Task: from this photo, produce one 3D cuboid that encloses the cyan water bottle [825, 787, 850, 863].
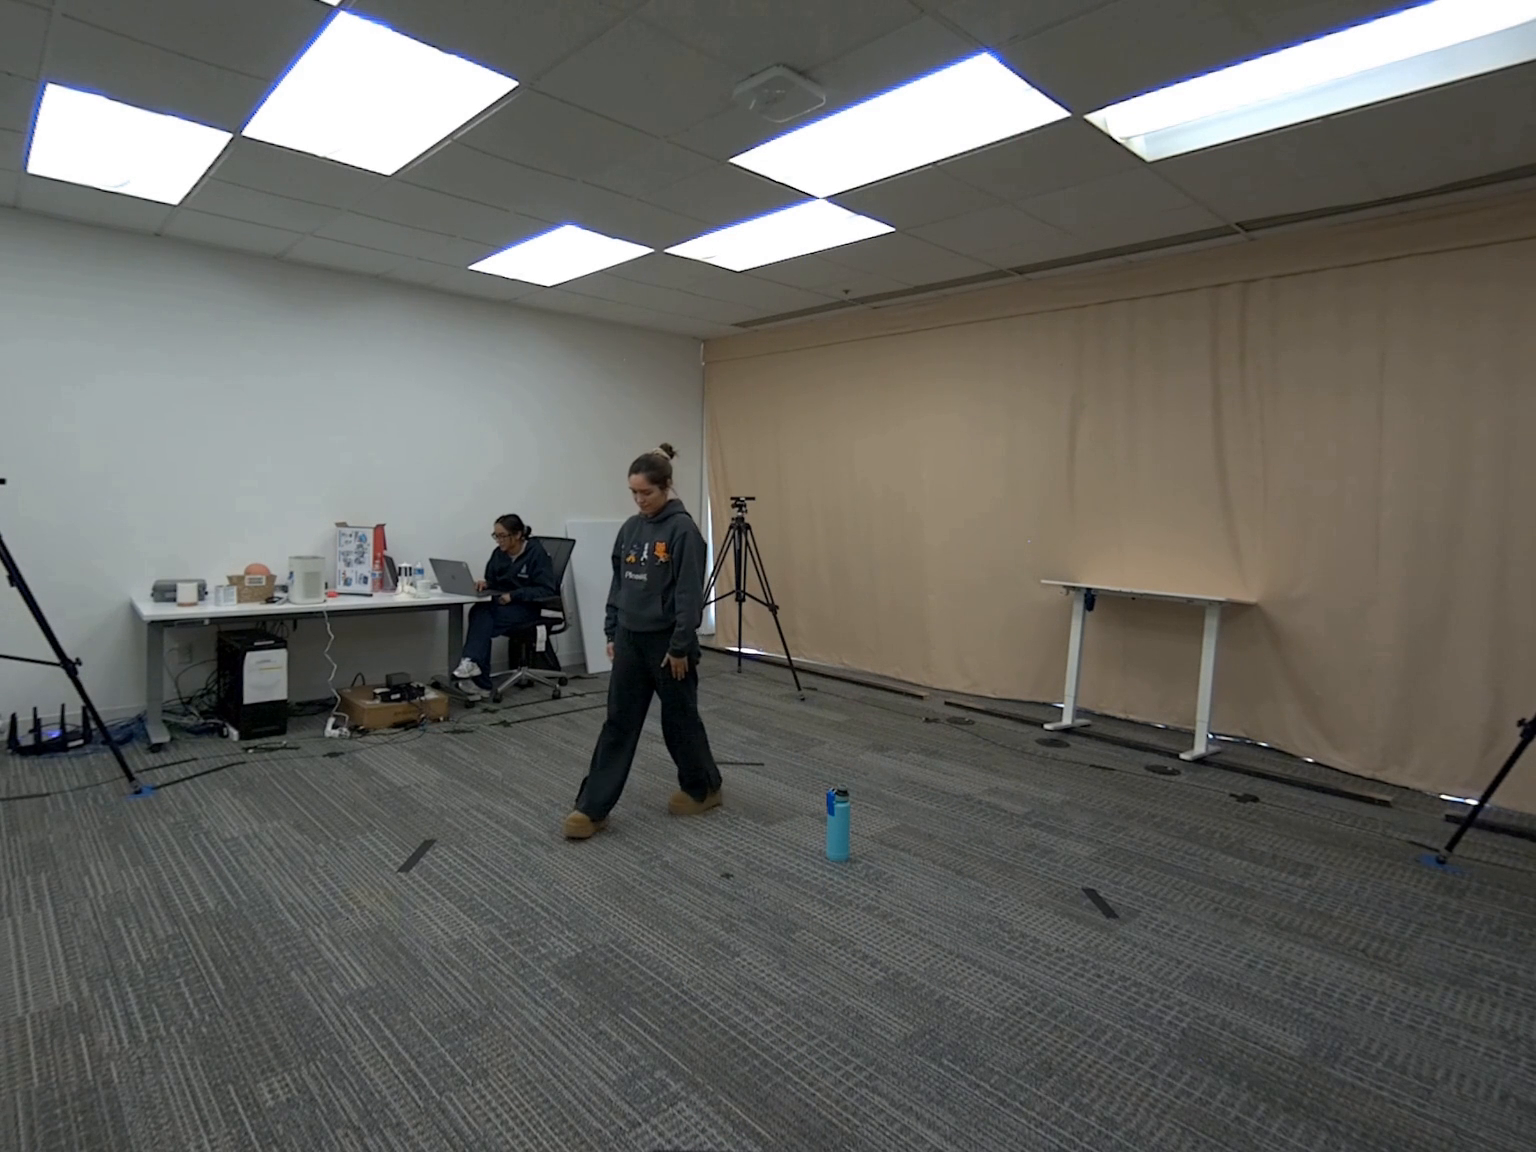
[{"bbox_3d":[0.265,0.957,3.297,0.092,0.282,0.092,0,4,-1],"label":"cyan water bottle"}]
